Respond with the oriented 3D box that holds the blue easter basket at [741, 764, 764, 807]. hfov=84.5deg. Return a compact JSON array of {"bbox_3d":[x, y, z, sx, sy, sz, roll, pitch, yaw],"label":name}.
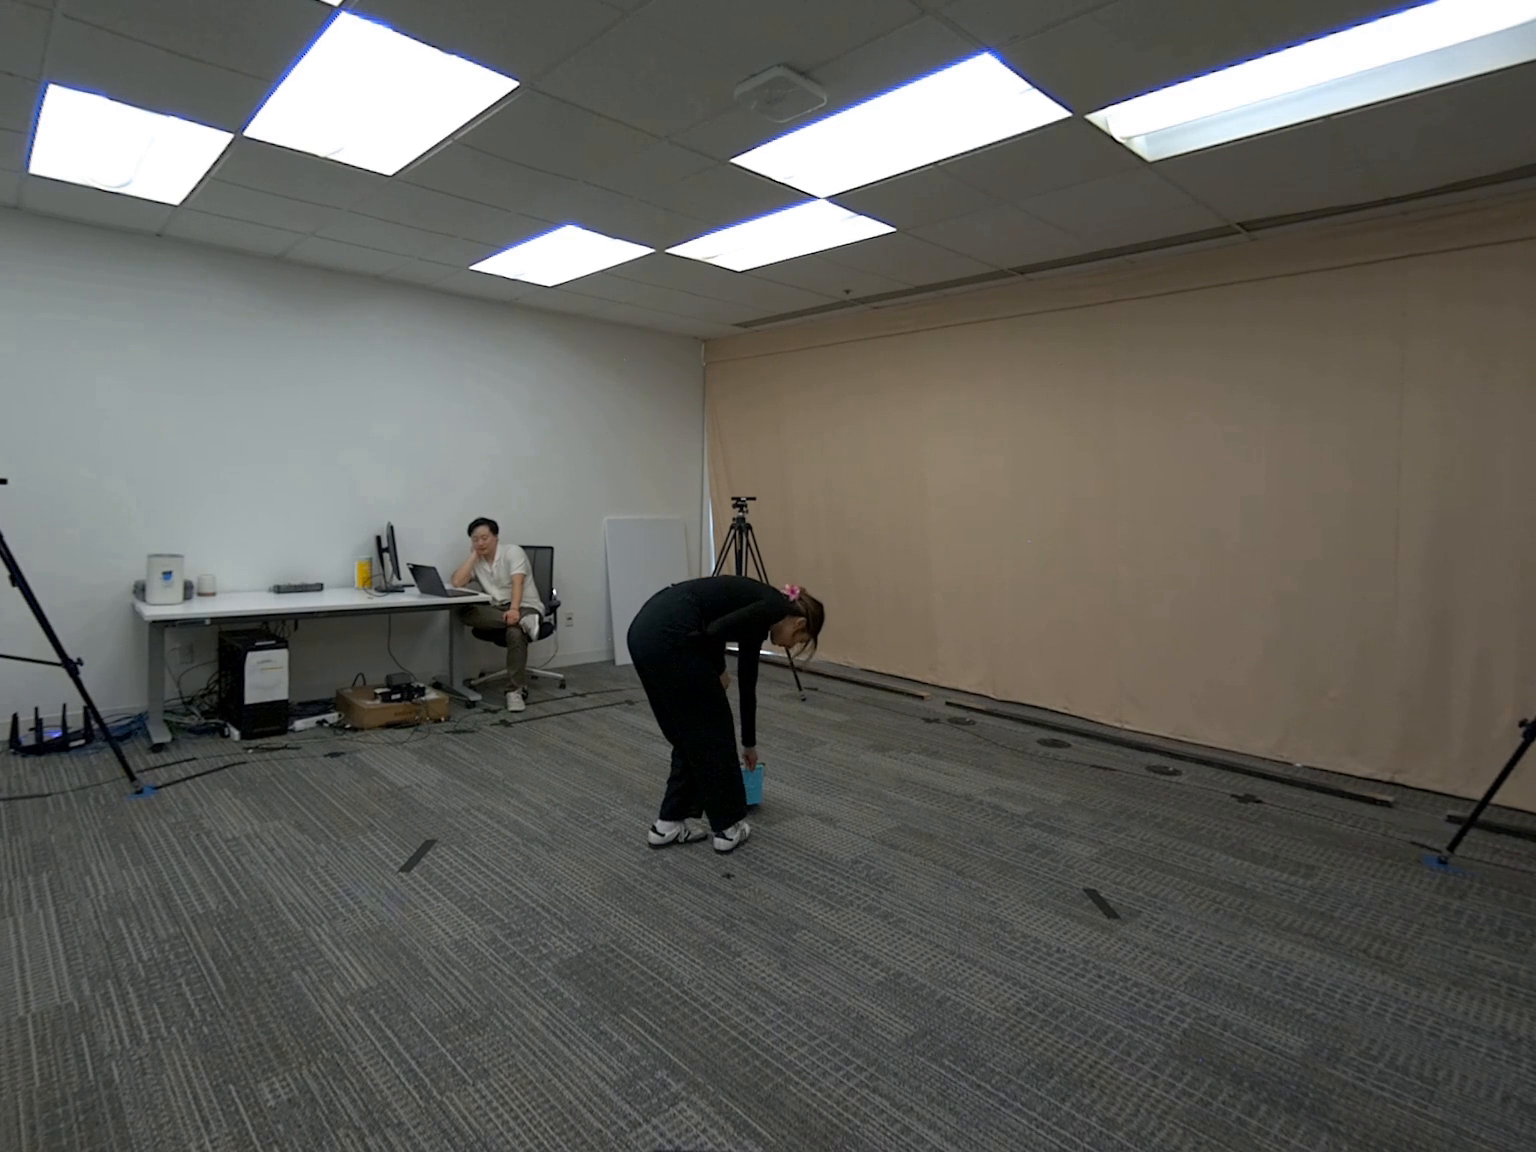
[{"bbox_3d":[-0.137,0.951,3.814,0.243,0.157,0.242,-5,-8,-2],"label":"blue easter basket"}]
